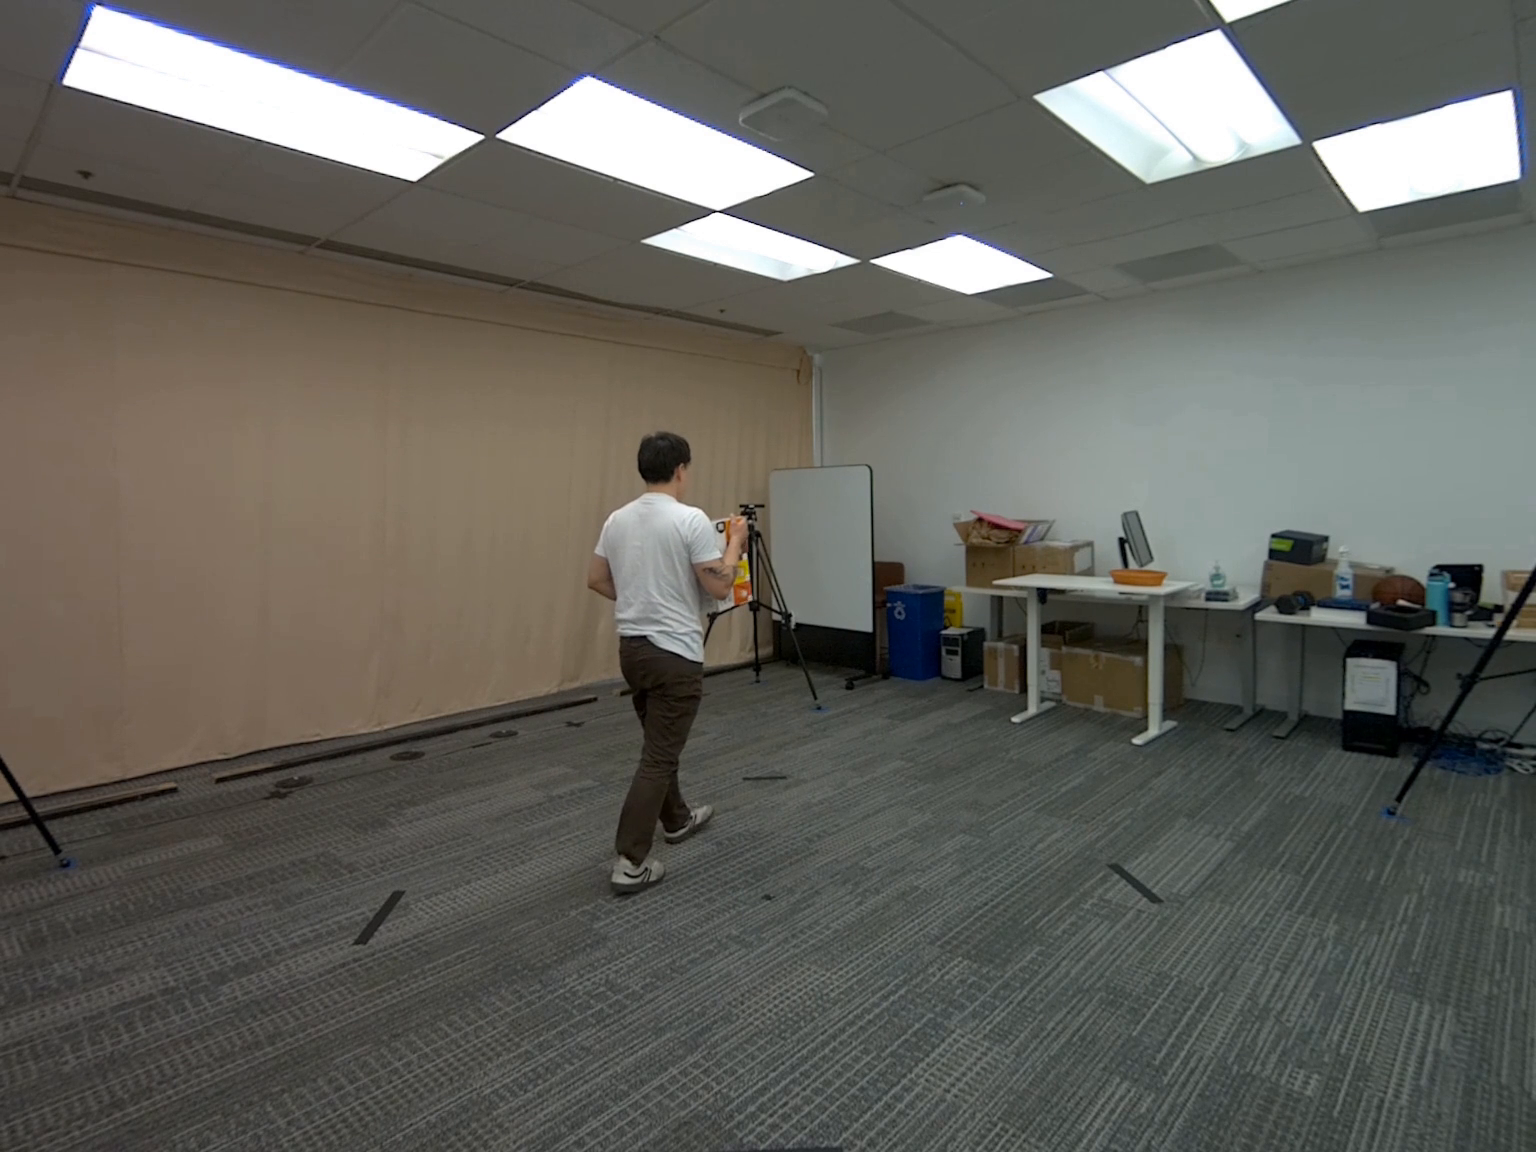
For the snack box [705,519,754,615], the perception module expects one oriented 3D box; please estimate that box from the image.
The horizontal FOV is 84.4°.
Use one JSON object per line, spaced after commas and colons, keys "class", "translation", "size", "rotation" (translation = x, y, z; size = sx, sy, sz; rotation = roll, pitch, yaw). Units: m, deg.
{"class": "snack box", "translation": [-0.299, -0.056, 3.390], "size": [0.418, 0.338, 0.200], "rotation": [0, 10, 41]}
